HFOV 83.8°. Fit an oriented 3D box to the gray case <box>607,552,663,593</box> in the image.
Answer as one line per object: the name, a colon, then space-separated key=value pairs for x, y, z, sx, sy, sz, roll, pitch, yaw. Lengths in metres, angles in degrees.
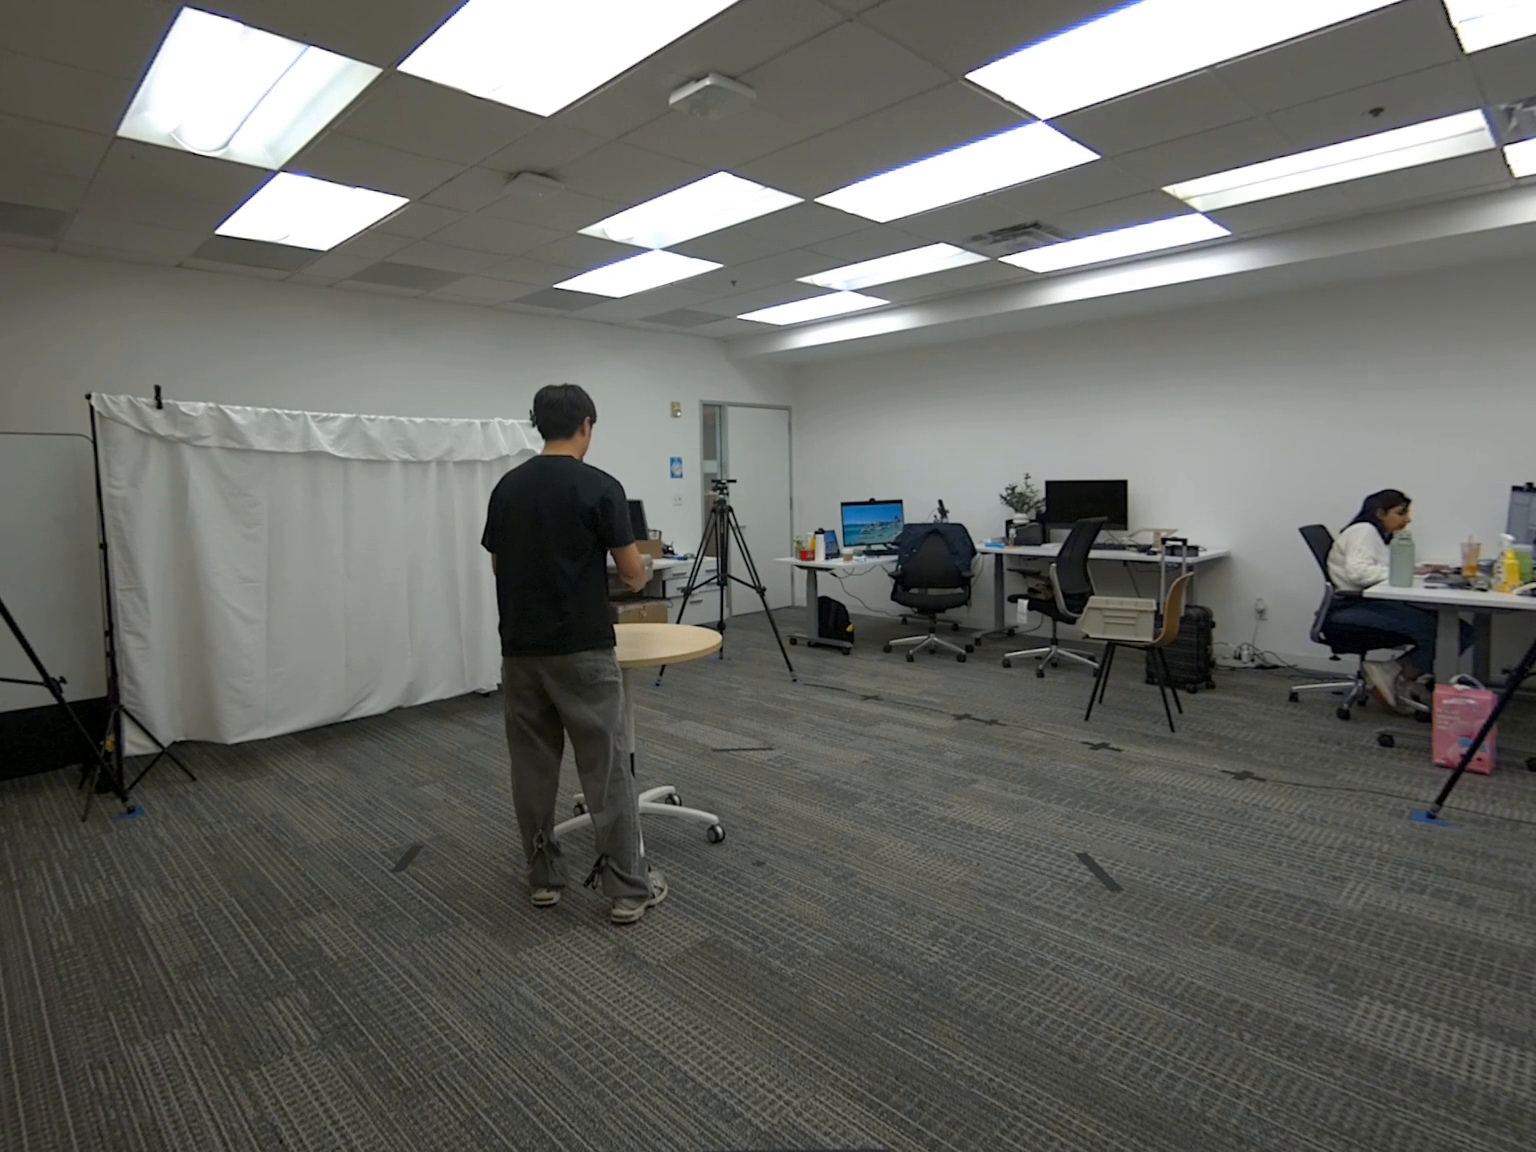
gray case: x=-0.584 y=-0.015 z=3.262 sx=0.268 sy=0.102 sz=0.284 roll=-2 pitch=9 yaw=18
